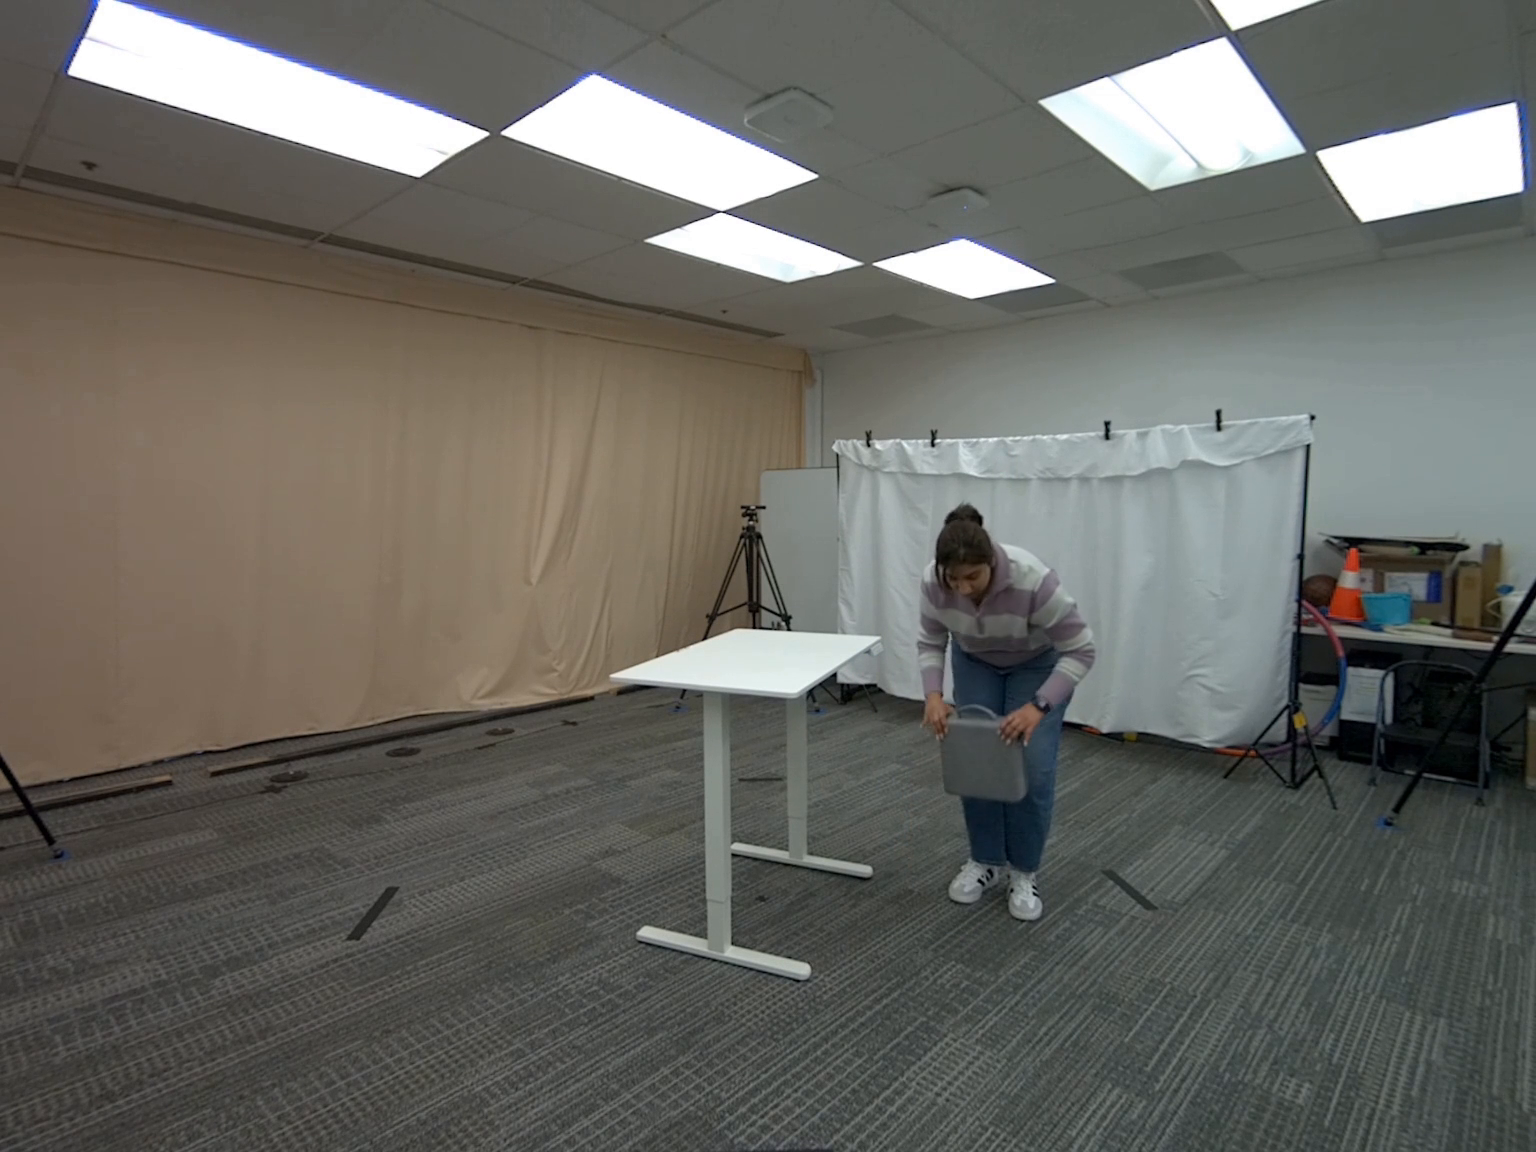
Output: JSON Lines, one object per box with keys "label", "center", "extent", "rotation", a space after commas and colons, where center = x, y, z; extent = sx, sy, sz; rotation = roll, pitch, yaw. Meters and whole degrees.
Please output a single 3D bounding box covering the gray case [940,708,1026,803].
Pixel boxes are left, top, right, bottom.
{"label": "gray case", "center": [0.691, 0.580, 2.683], "extent": [0.265, 0.260, 0.101], "rotation": [-2, 3, 38]}
